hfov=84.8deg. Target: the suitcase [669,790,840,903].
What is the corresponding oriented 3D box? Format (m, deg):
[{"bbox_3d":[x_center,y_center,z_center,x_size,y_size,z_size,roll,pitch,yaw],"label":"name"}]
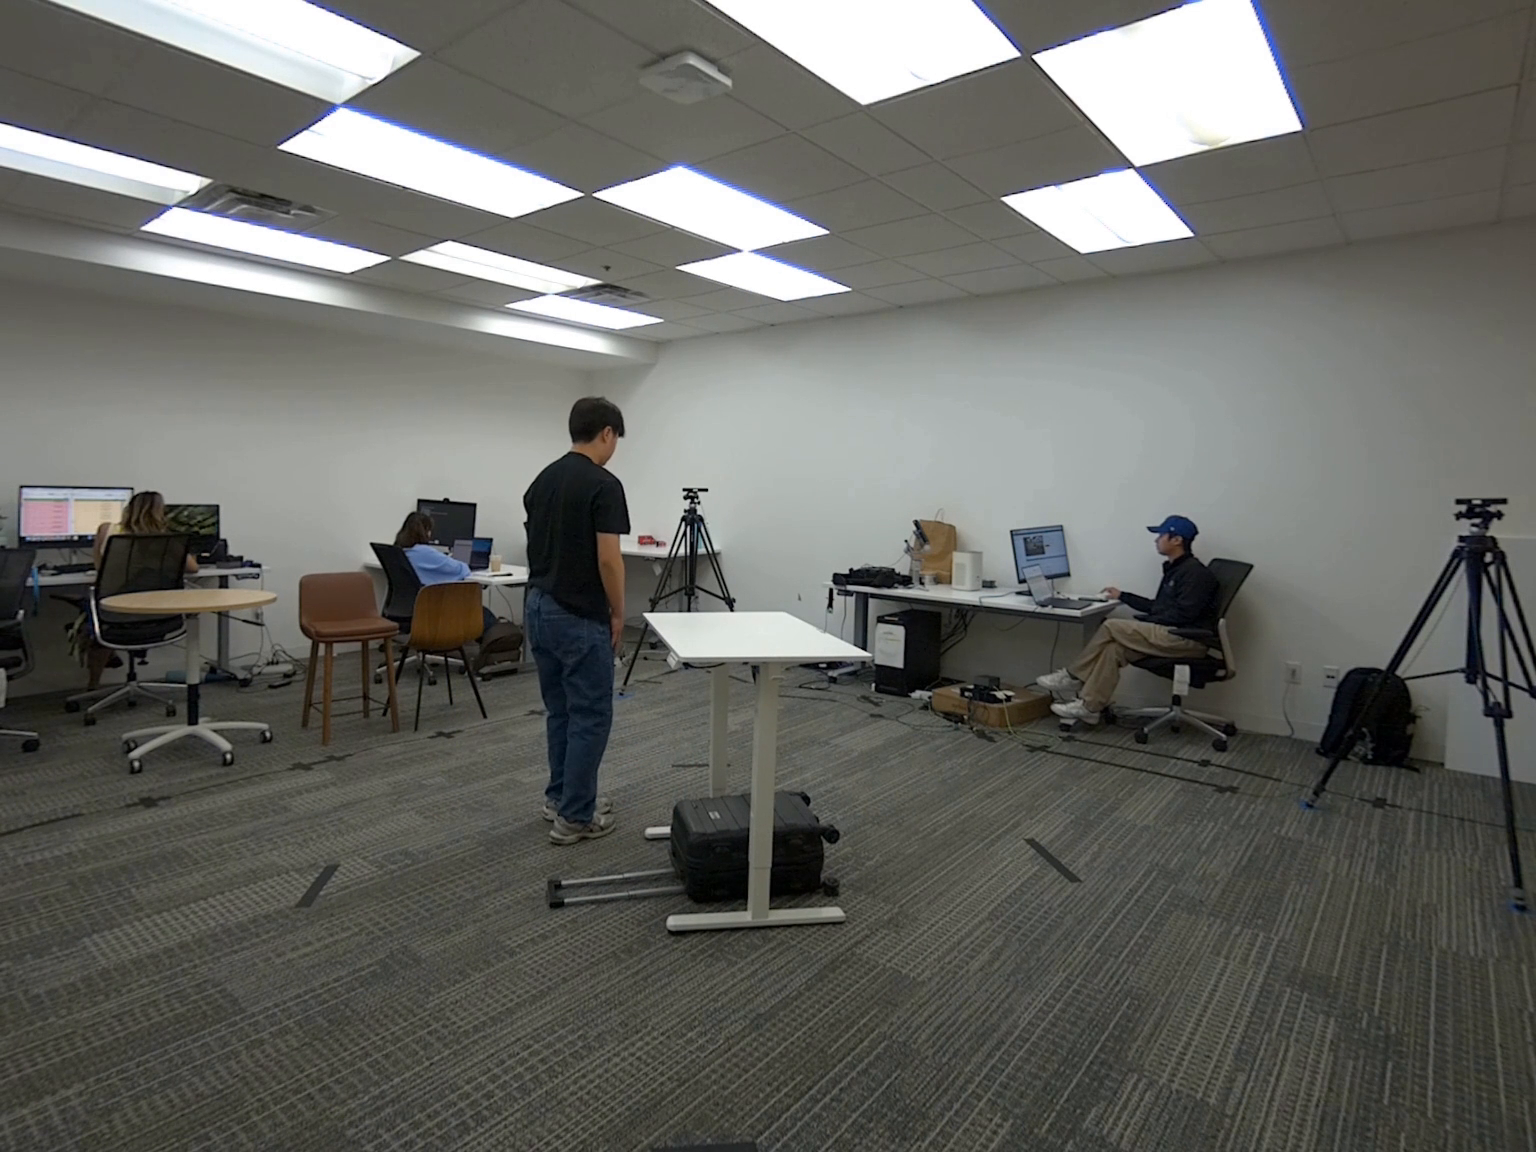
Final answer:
[{"bbox_3d":[-0.277,0.950,2.986,0.964,0.256,0.391,0,6,-14],"label":"suitcase"}]
